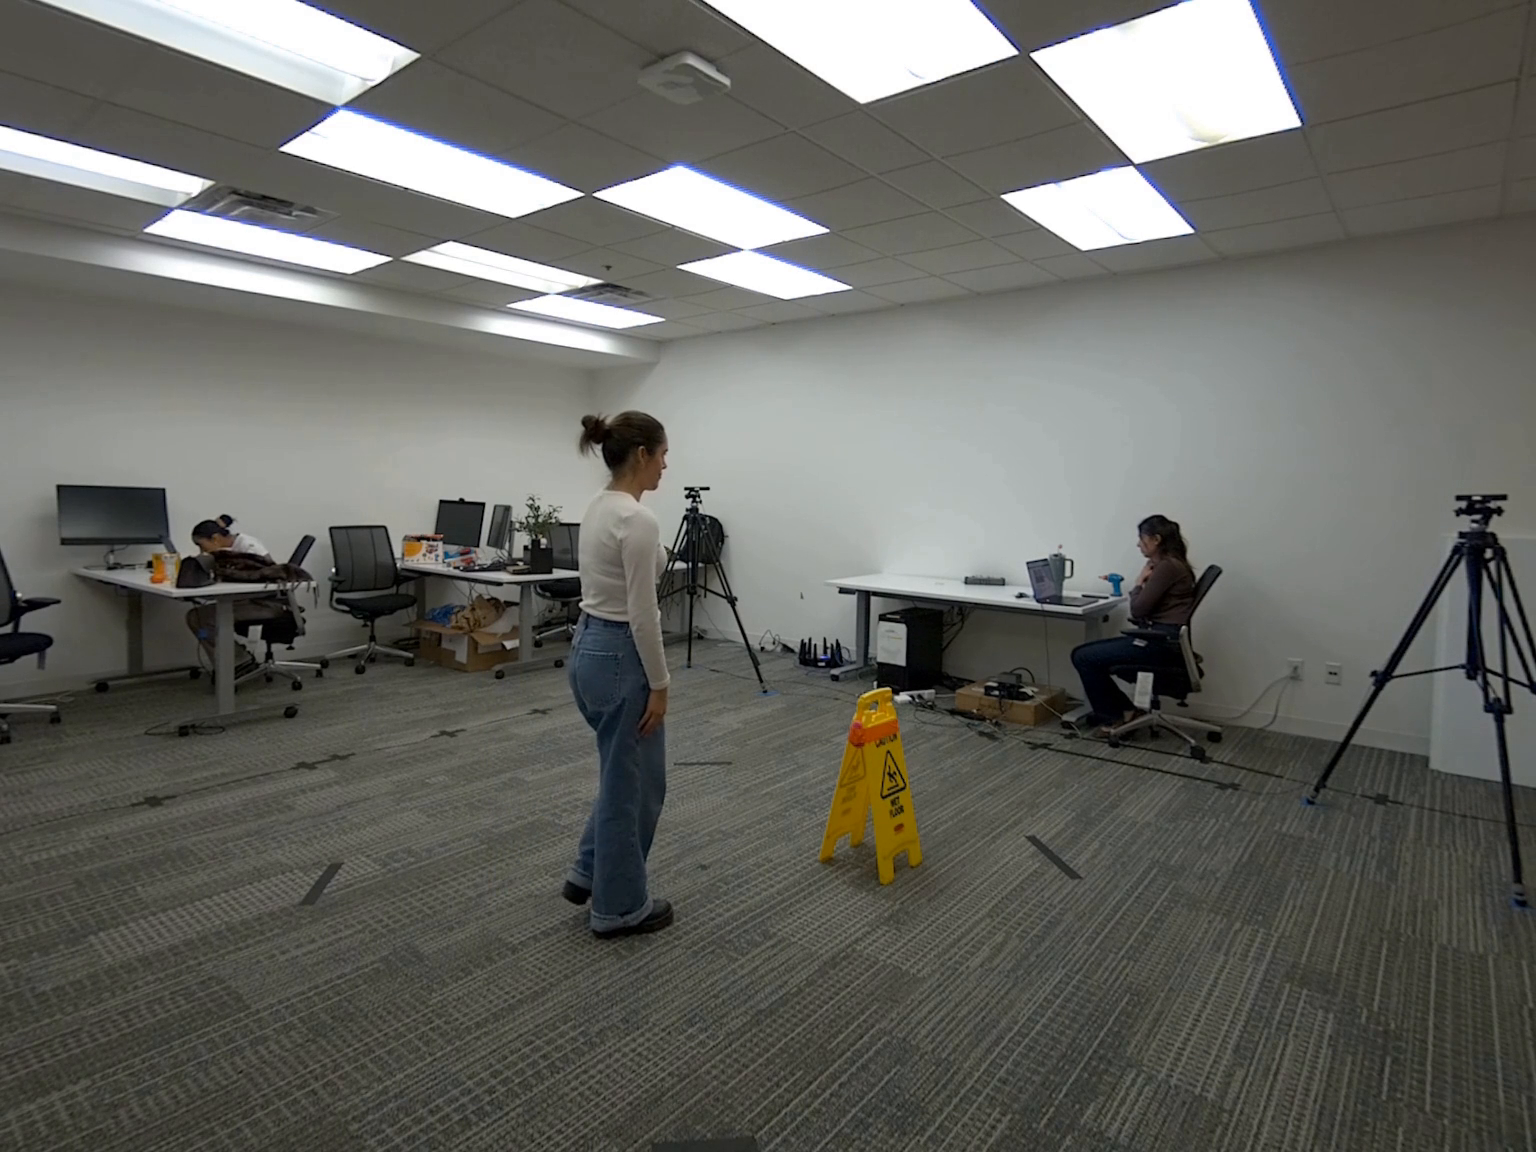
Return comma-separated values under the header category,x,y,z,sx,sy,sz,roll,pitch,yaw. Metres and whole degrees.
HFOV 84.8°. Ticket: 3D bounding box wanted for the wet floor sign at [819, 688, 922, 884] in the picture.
category,x,y,z,sx,sy,sz,roll,pitch,yaw
wet floor sign,0.384,0.744,3.179,0.299,0.645,0.273,3,3,40
